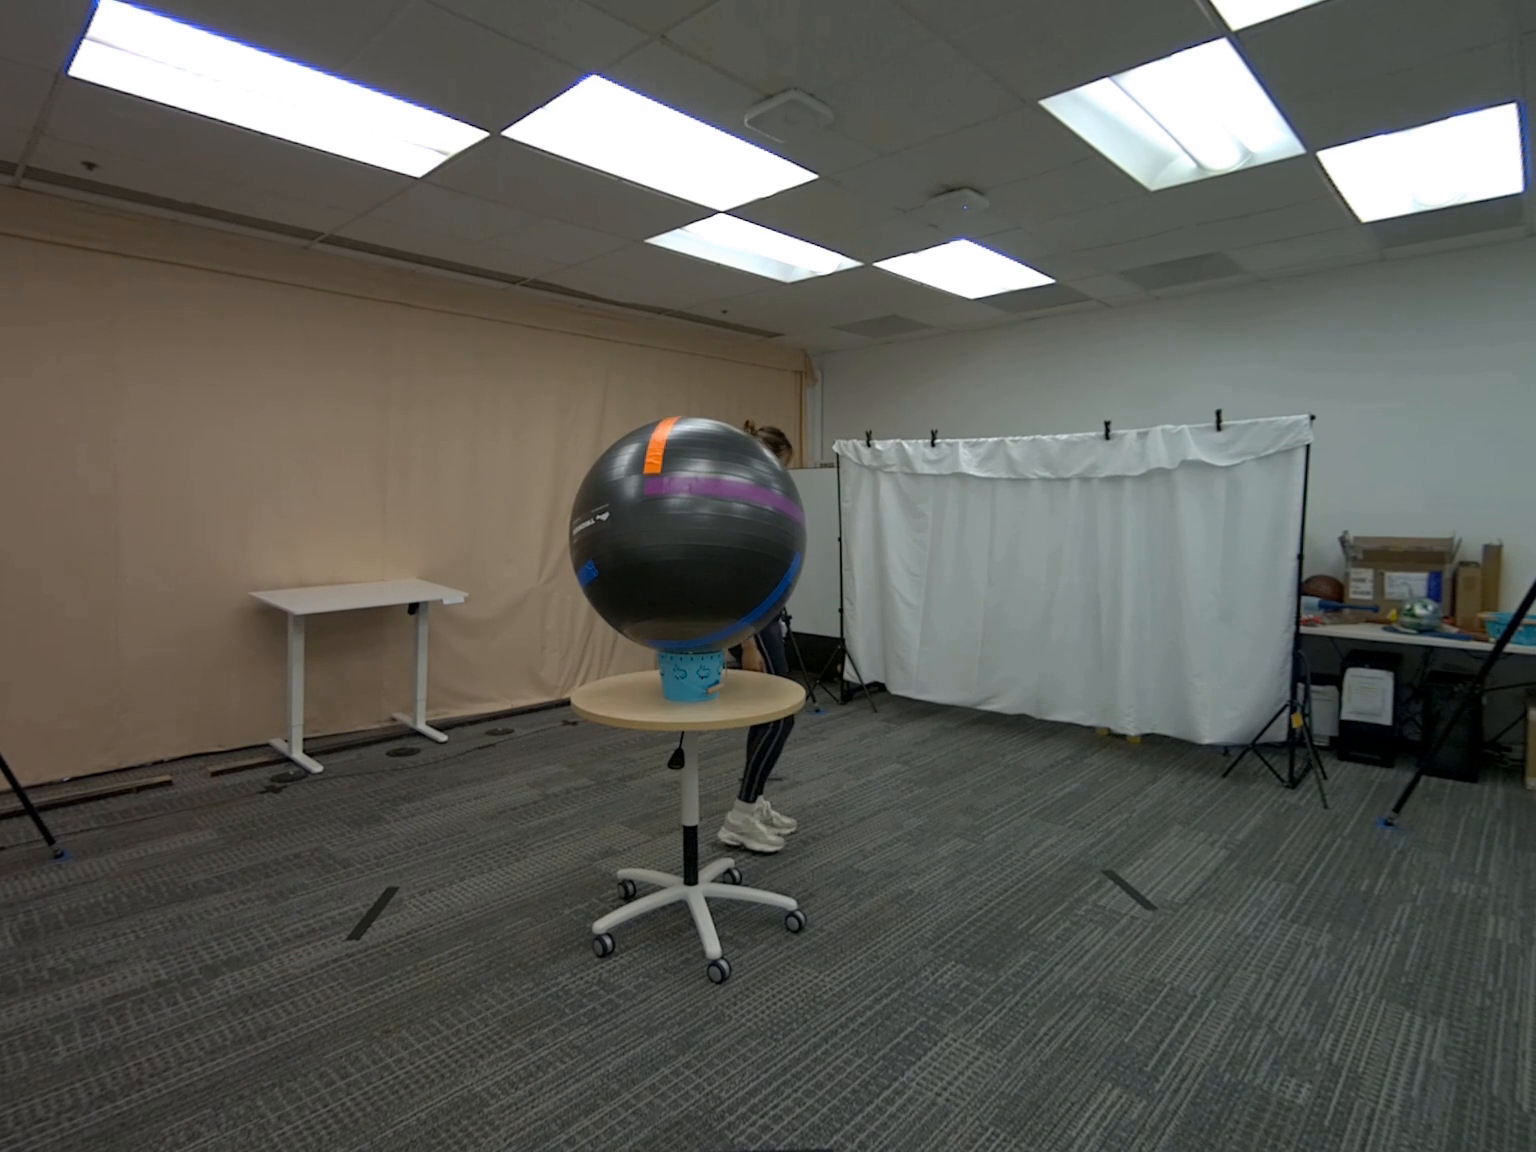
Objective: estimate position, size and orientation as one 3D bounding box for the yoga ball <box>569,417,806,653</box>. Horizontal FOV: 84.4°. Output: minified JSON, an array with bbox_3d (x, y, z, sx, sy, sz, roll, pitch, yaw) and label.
[{"bbox_3d":[-0.258,-0.125,2.687,0.757,0.756,0.761,0,4,-2],"label":"yoga ball"}]
